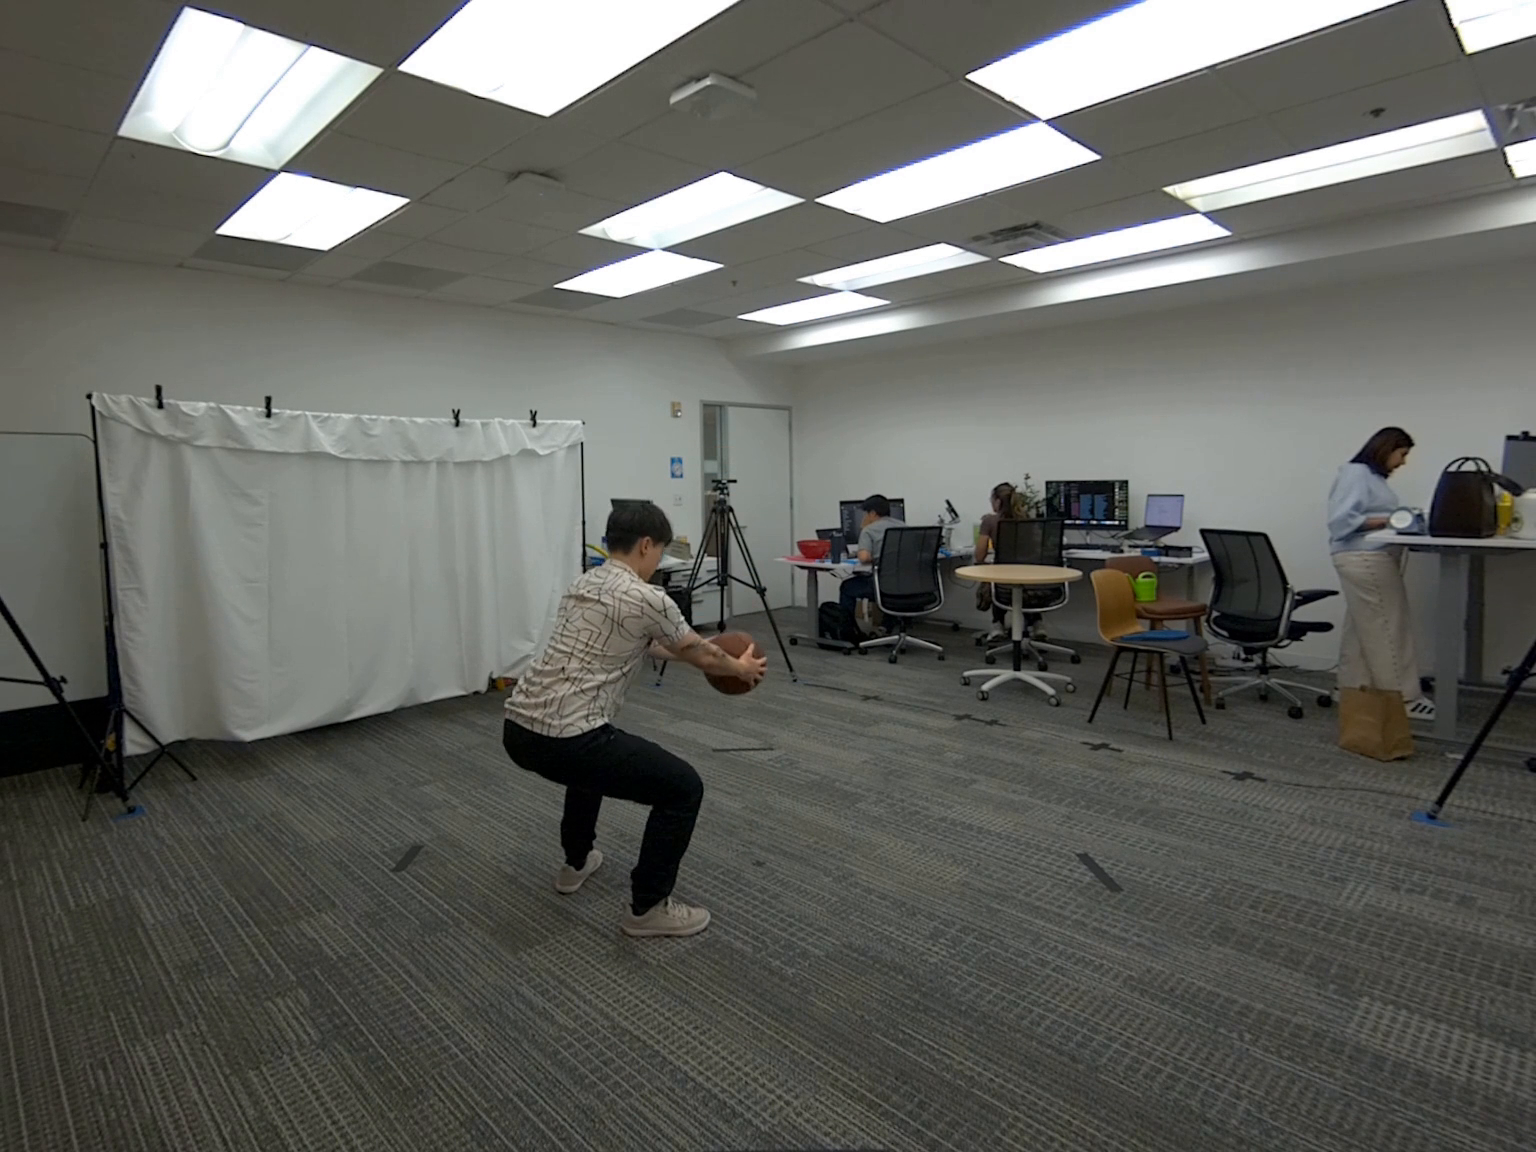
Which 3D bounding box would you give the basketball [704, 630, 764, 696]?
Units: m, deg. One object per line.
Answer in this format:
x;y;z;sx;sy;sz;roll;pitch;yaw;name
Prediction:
-0.117;0.319;3.191;0.236;0.235;0.237;-1;5;-2;basketball
